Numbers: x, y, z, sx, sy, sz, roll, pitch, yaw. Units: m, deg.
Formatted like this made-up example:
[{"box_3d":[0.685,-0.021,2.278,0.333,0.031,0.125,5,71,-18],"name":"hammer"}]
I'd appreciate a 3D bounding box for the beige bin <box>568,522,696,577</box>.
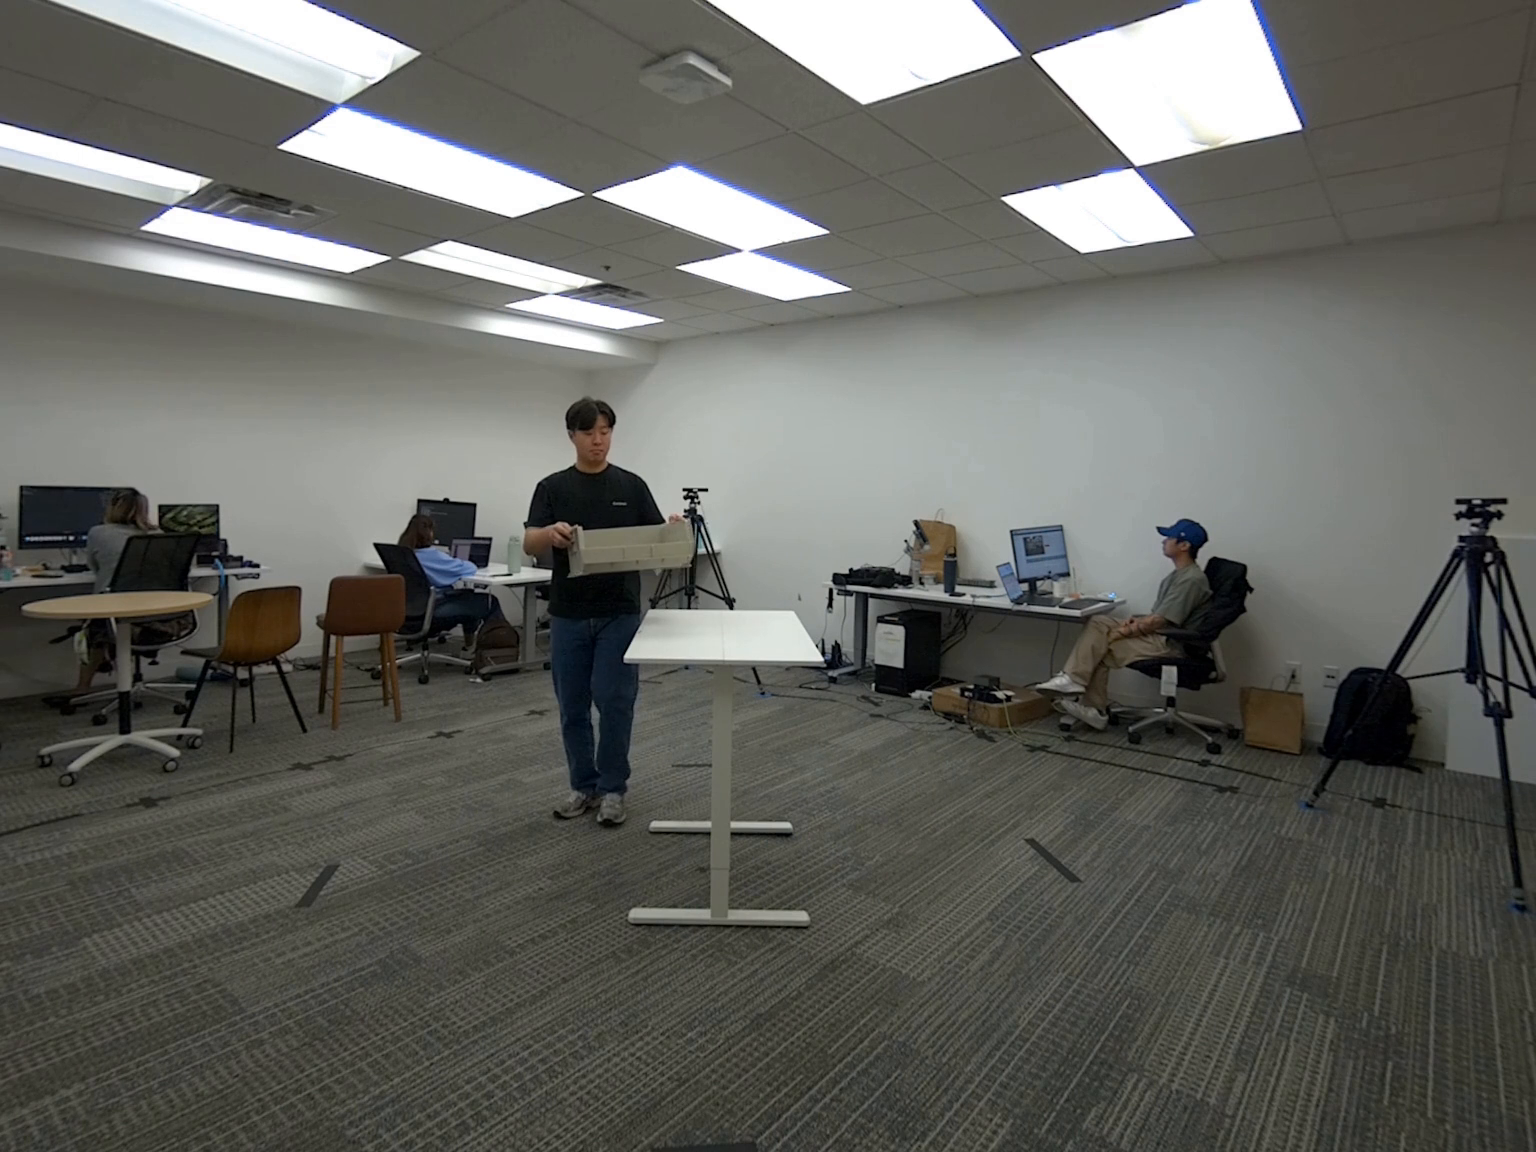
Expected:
[{"box_3d":[-0.543,-0.100,3.209,0.414,0.189,0.383,-6,-1,-21],"name":"beige bin"}]
